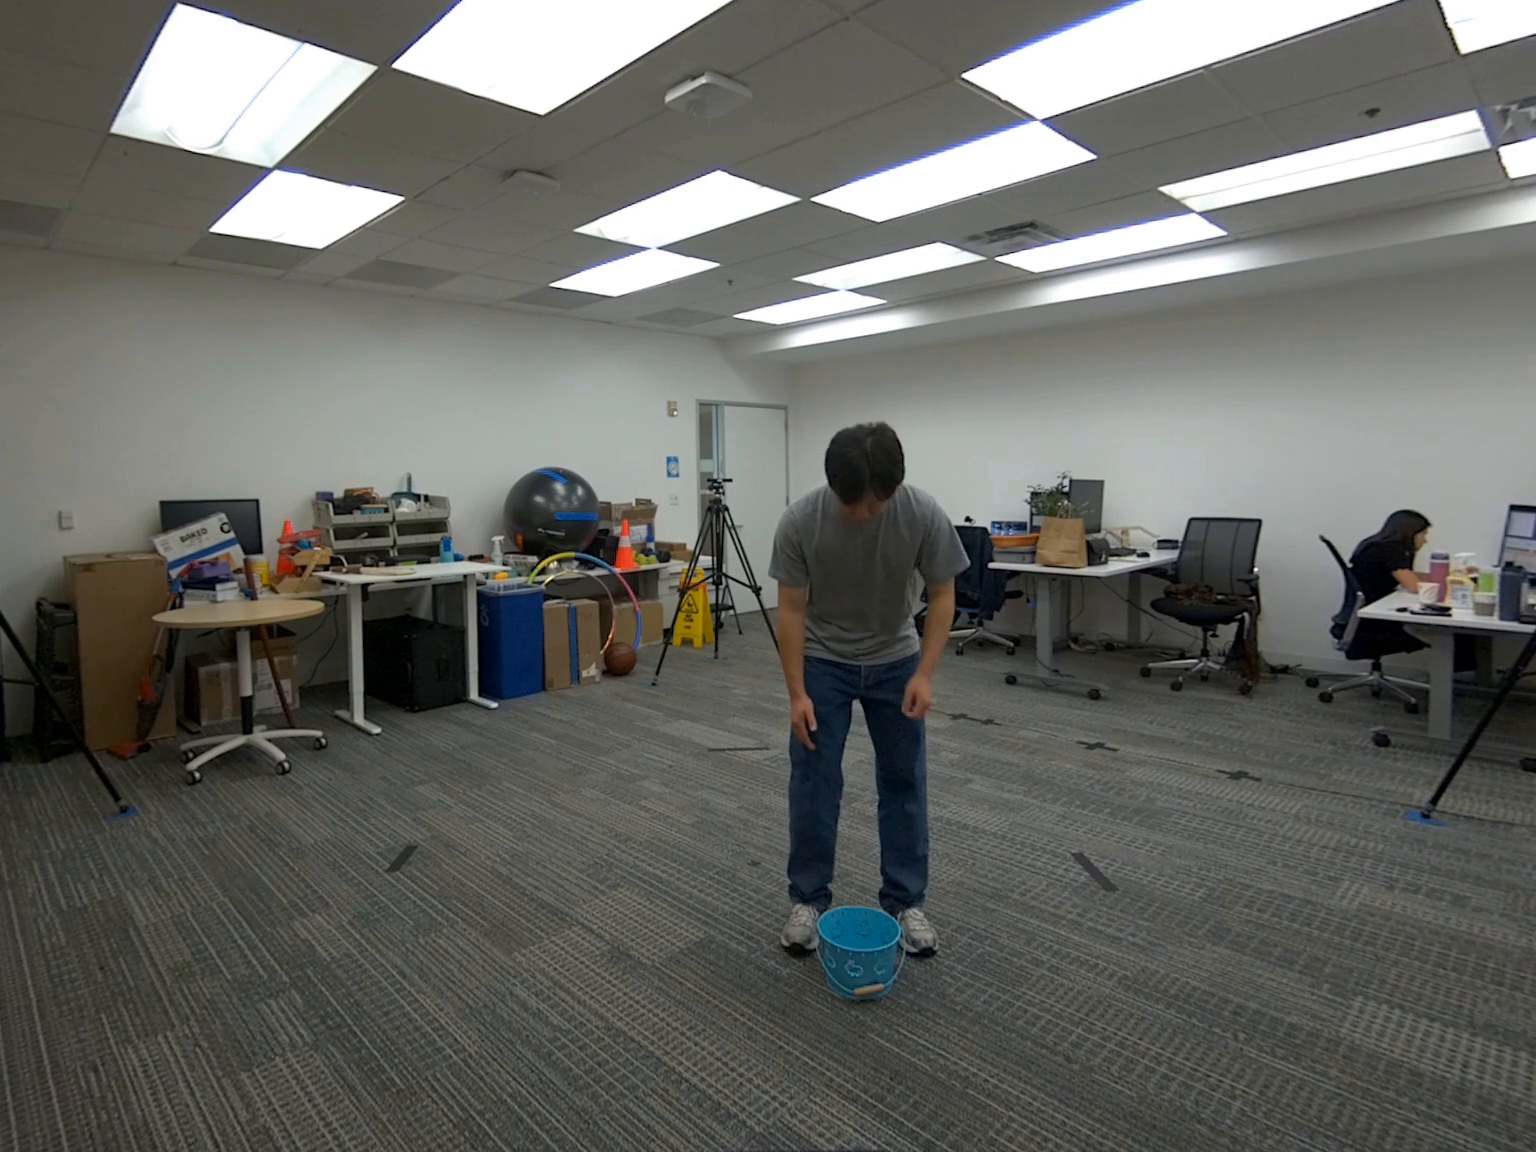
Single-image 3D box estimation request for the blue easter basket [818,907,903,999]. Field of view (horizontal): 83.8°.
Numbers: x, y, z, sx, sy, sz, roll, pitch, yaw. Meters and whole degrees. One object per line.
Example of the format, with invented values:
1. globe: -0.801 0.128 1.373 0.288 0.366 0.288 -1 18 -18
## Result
1. blue easter basket: 0.257 1.050 2.367 0.243 0.155 0.245 -2 6 -1
